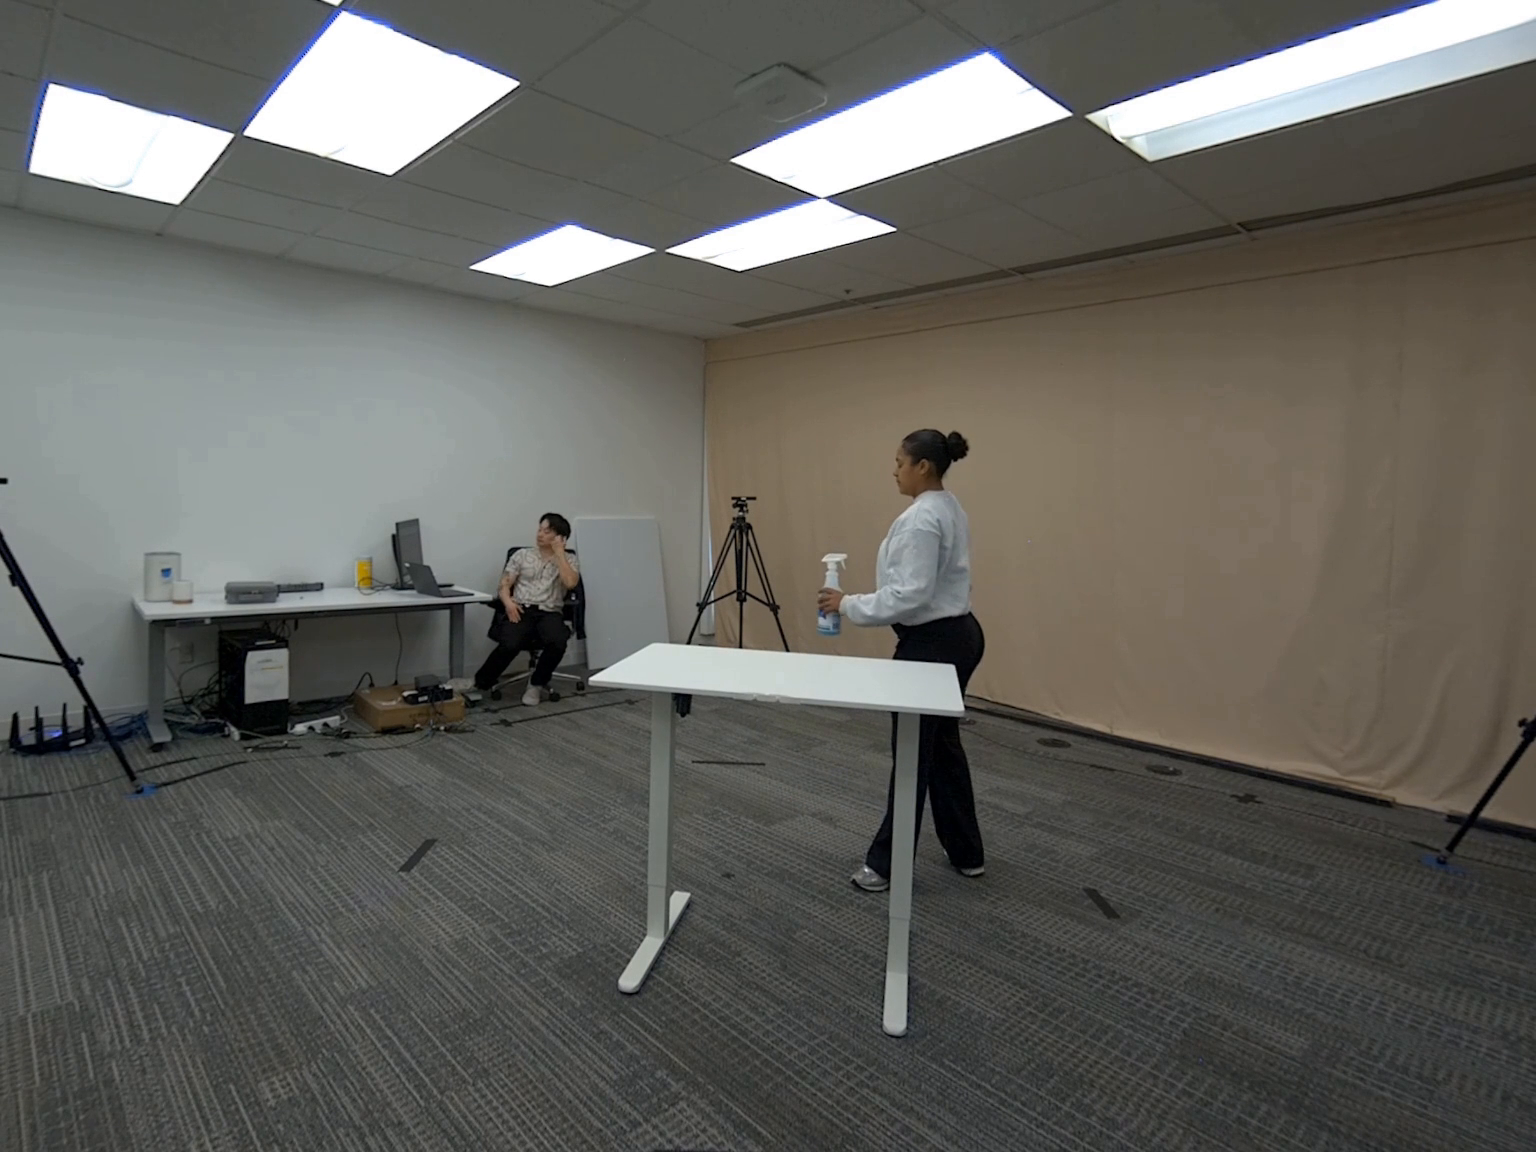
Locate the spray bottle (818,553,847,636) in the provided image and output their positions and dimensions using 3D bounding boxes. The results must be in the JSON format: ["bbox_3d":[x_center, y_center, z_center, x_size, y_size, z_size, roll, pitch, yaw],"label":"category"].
[{"bbox_3d":[0.238,0.072,3.090,0.092,0.296,0.085,8,7,31],"label":"spray bottle"}]
